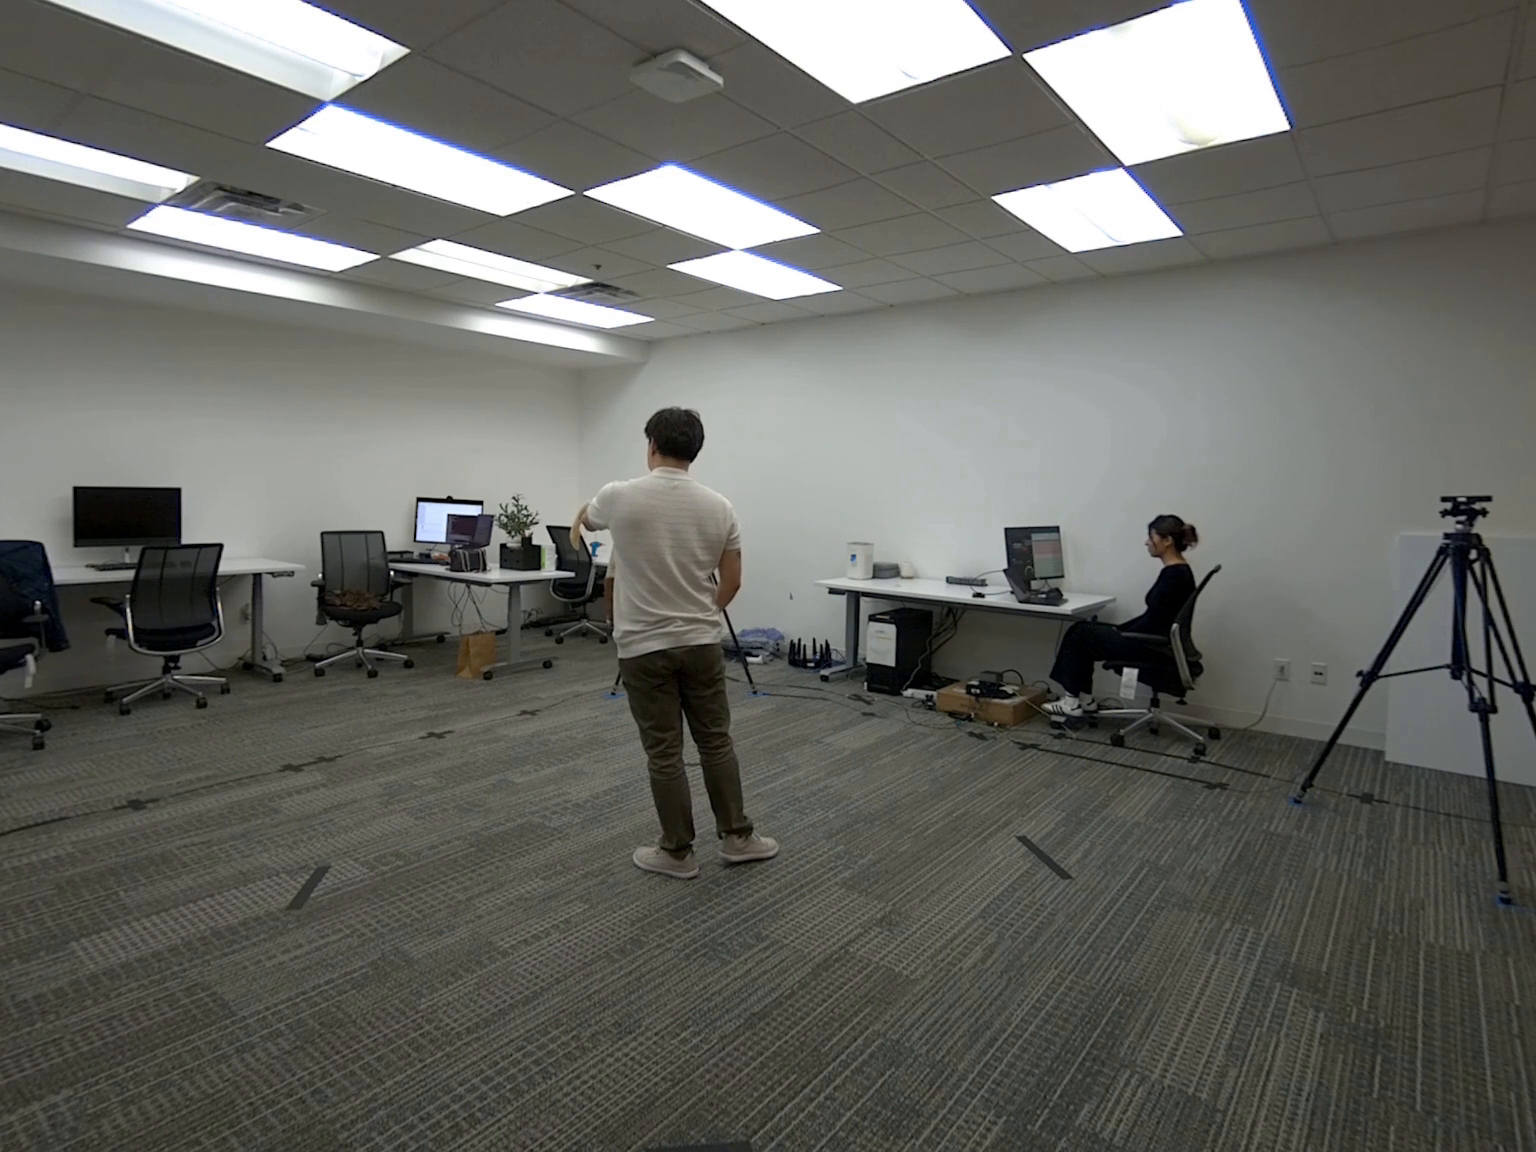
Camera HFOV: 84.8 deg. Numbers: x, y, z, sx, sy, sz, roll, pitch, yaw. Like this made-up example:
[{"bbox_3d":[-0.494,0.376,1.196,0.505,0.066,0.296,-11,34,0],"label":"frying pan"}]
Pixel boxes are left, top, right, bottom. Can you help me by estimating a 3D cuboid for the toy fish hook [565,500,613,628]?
[{"bbox_3d":[-0.695,-0.049,3.399,0.221,0.507,0.049,2,0,-16],"label":"toy fish hook"}]
